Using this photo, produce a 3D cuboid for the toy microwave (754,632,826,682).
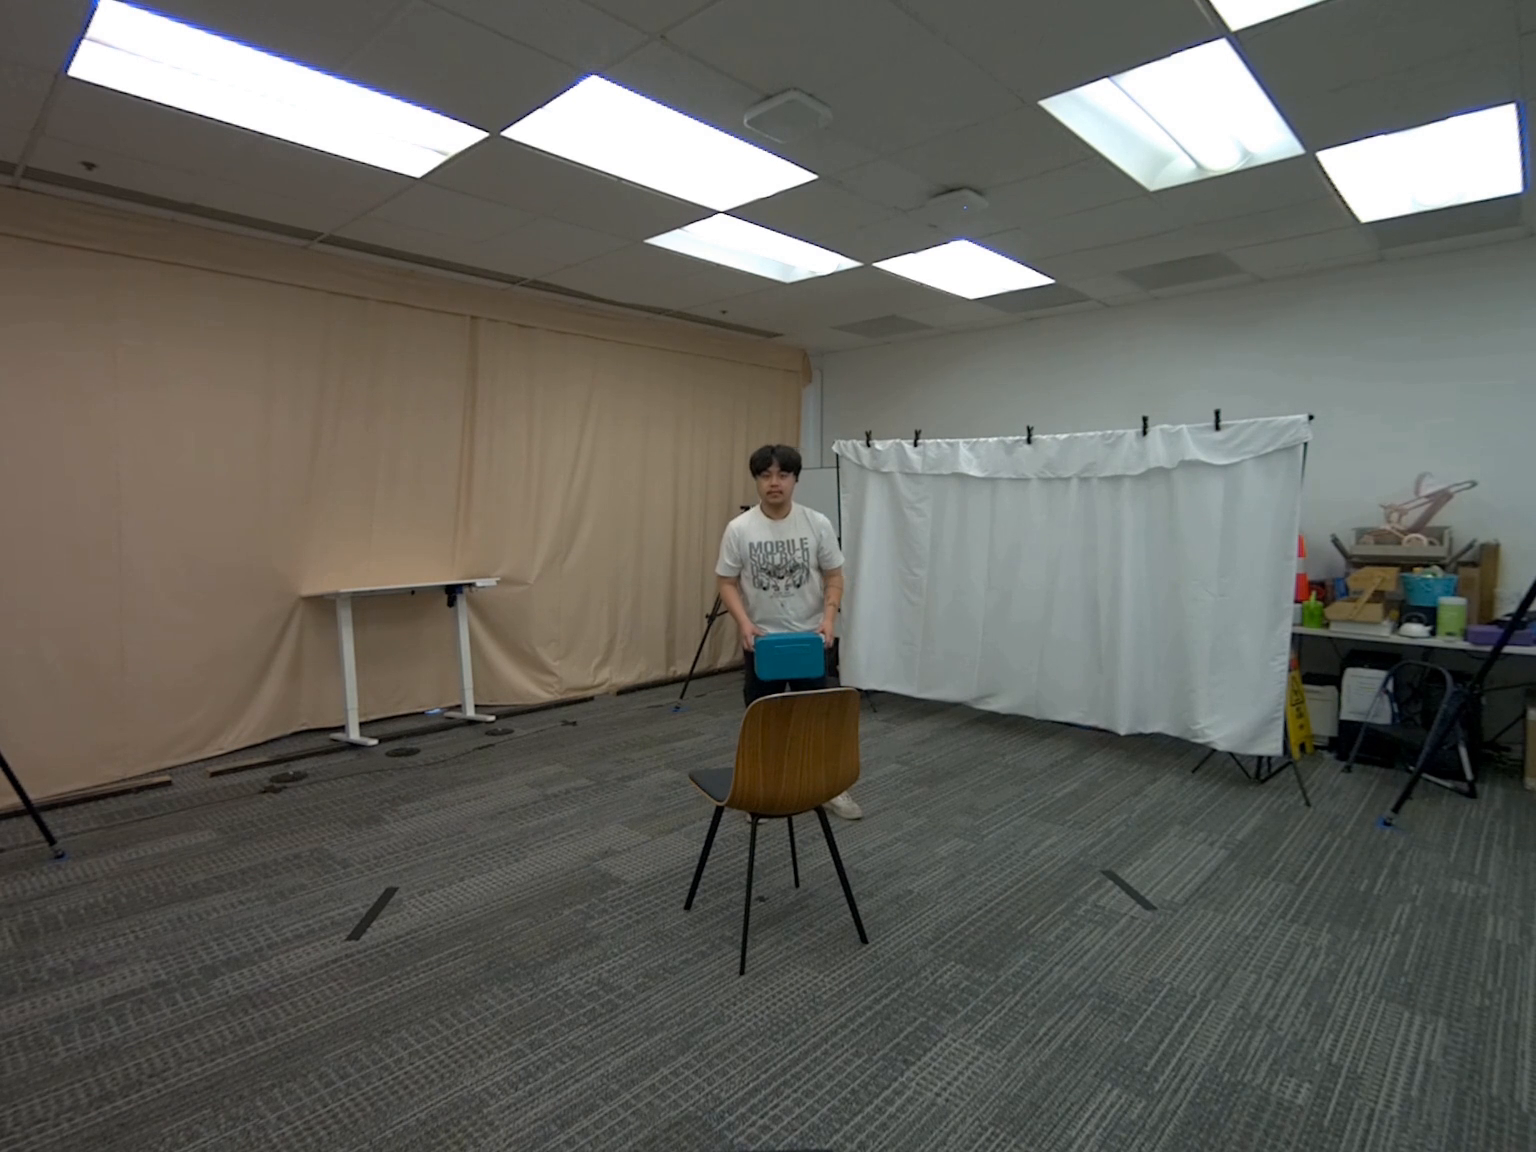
[{"bbox_3d":[0.097,0.337,3.555,0.286,0.183,0.153,-3,5,0],"label":"toy microwave"}]
